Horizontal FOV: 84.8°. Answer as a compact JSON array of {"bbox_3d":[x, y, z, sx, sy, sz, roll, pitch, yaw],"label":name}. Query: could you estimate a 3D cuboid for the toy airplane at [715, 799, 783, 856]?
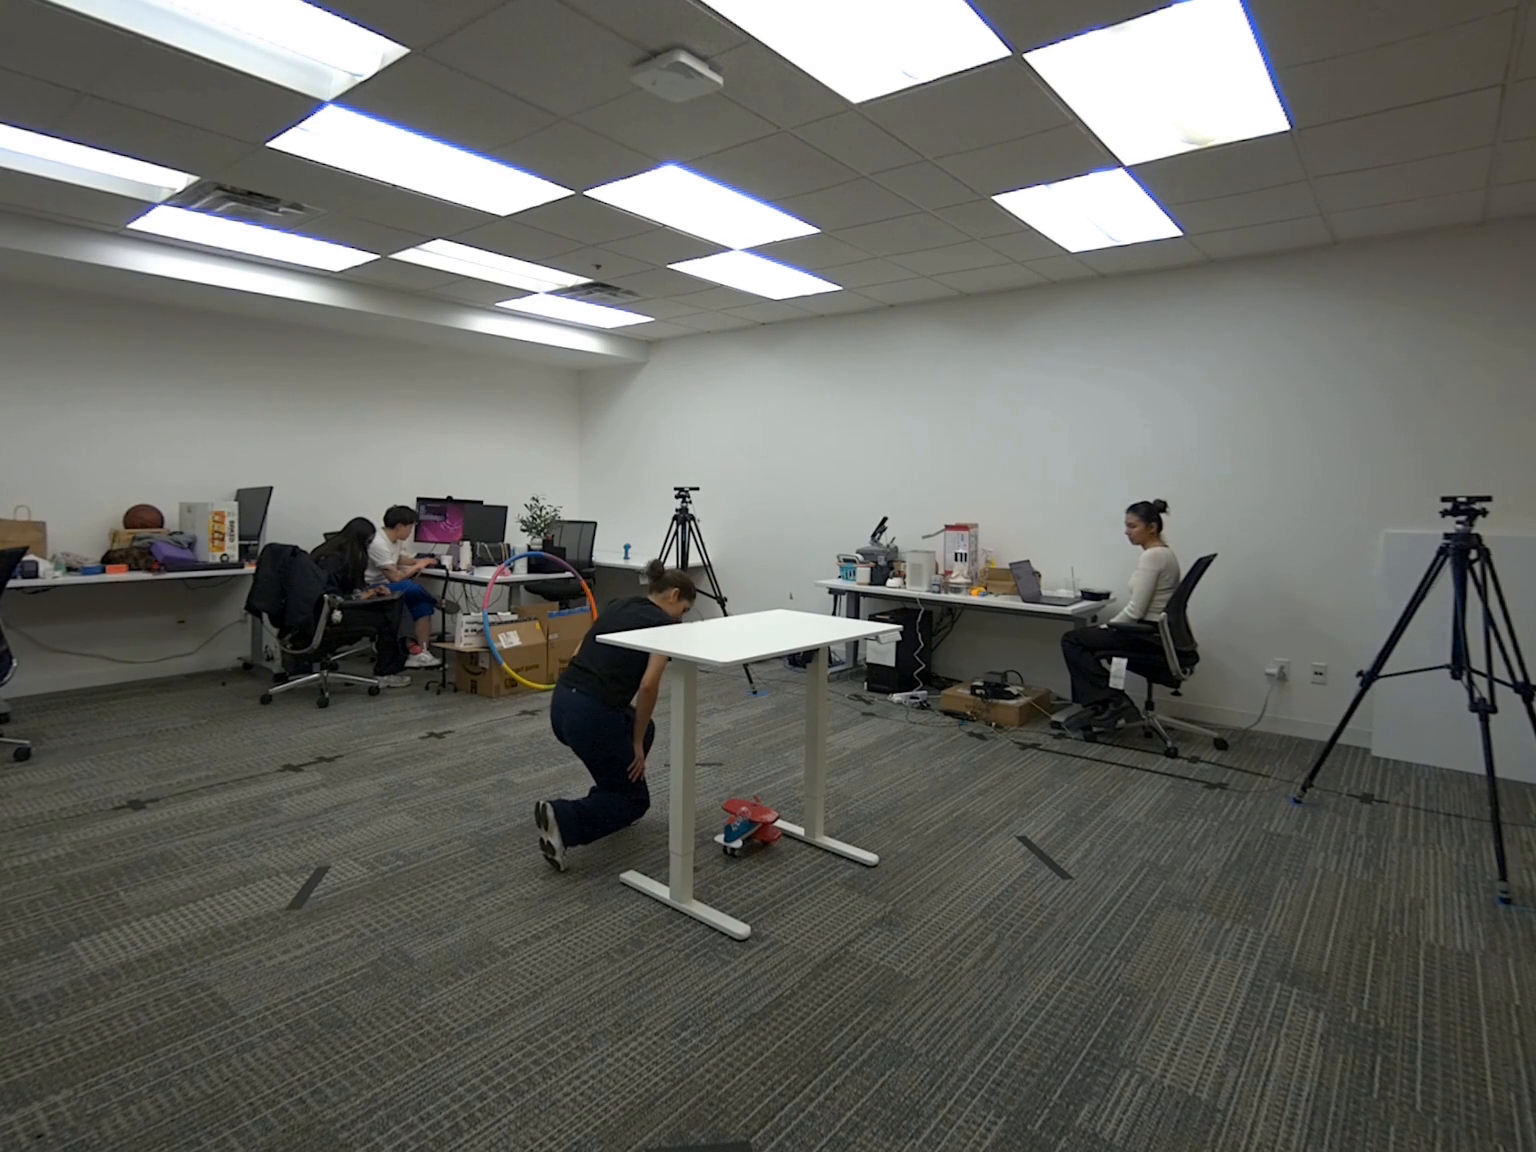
[{"bbox_3d":[-0.058,0.981,3.297,0.254,0.156,0.257,2,4,10],"label":"toy airplane"}]
